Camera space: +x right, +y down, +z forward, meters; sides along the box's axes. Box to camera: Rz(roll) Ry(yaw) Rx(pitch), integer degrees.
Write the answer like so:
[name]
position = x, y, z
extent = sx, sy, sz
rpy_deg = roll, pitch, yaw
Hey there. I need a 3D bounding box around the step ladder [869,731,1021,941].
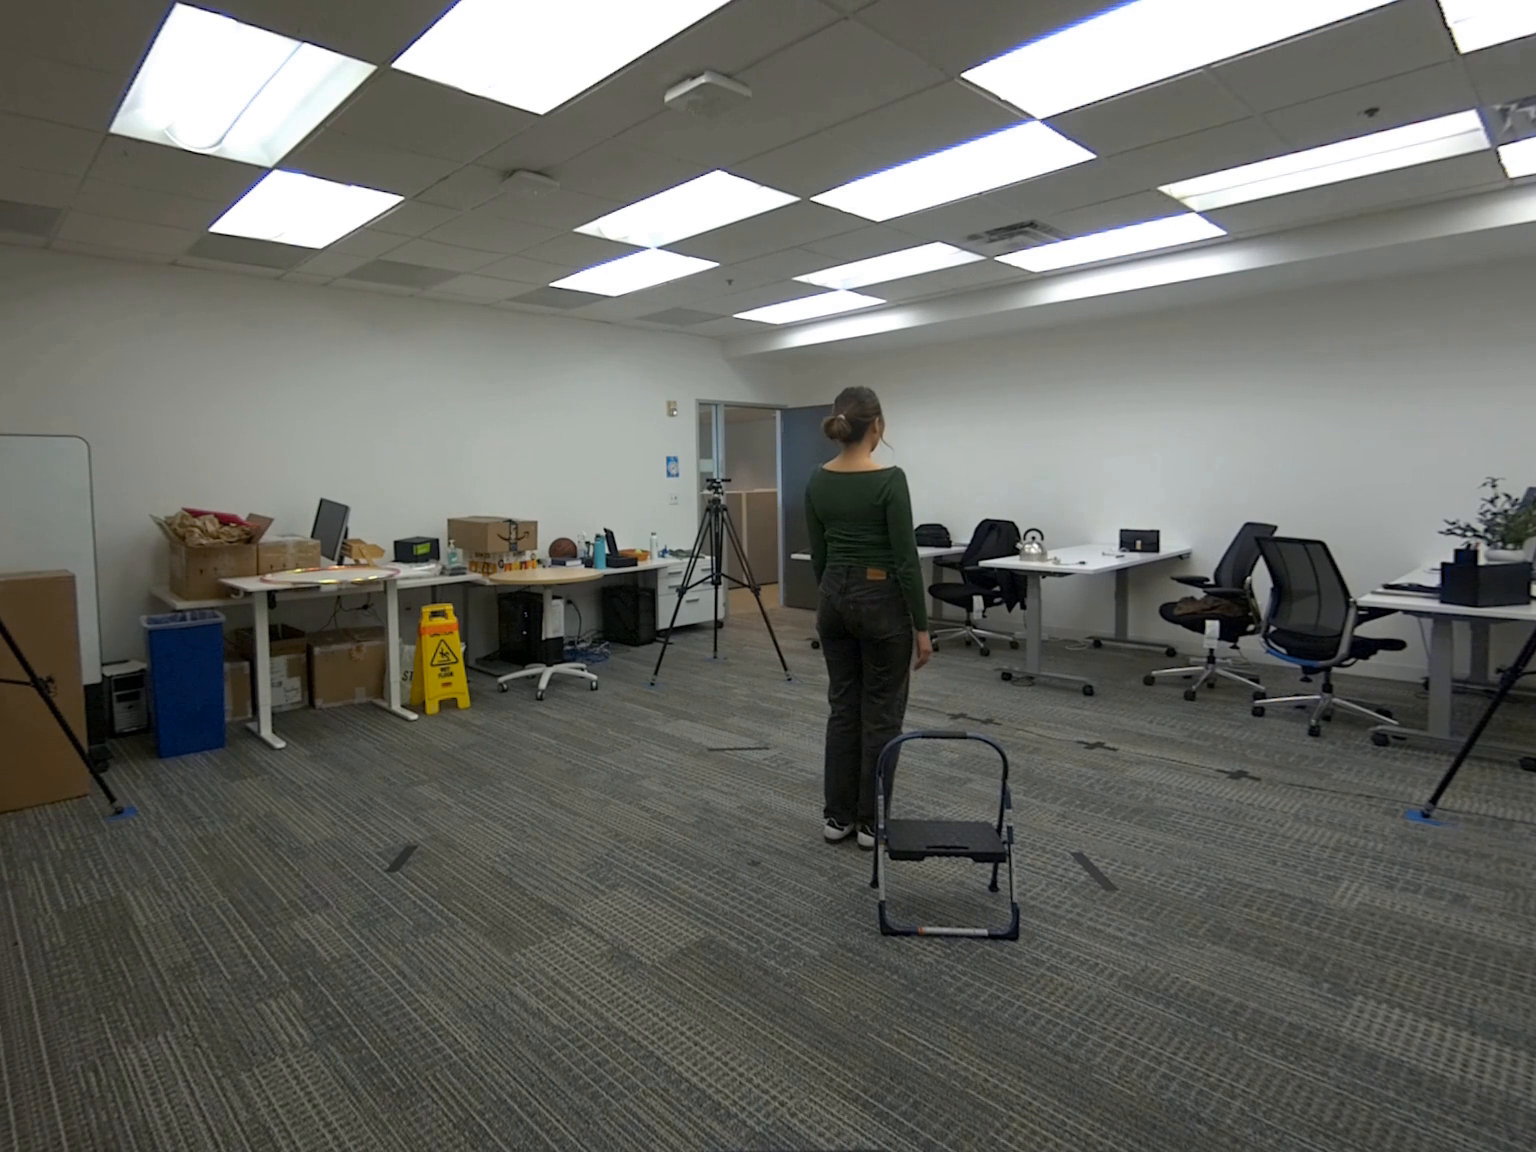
[step ladder]
position = 0.556, 0.778, 2.727
extent = 0.433, 0.604, 0.349
rpy_deg = -1, 4, 4
